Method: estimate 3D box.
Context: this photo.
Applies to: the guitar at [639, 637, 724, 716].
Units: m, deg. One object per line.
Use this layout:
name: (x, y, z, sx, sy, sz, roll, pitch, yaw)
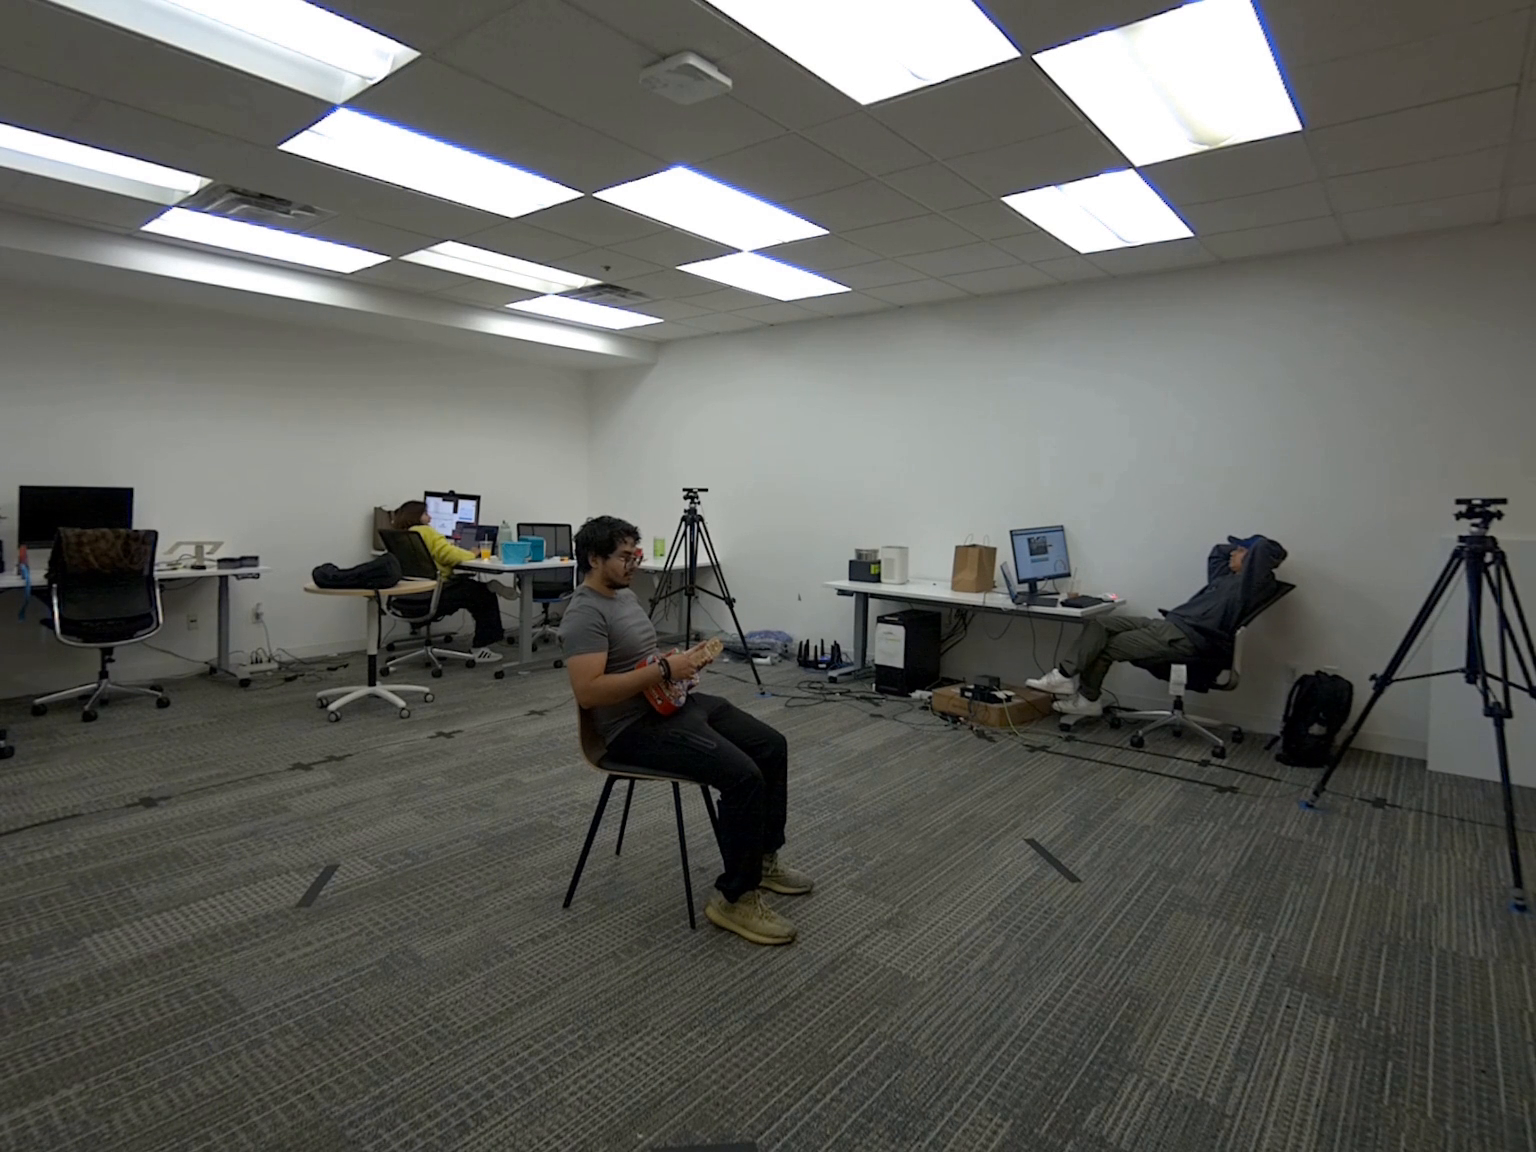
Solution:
guitar: (-0.279, 0.336, 2.938, 0.071, 0.196, 0.486, -37, -12, 24)
